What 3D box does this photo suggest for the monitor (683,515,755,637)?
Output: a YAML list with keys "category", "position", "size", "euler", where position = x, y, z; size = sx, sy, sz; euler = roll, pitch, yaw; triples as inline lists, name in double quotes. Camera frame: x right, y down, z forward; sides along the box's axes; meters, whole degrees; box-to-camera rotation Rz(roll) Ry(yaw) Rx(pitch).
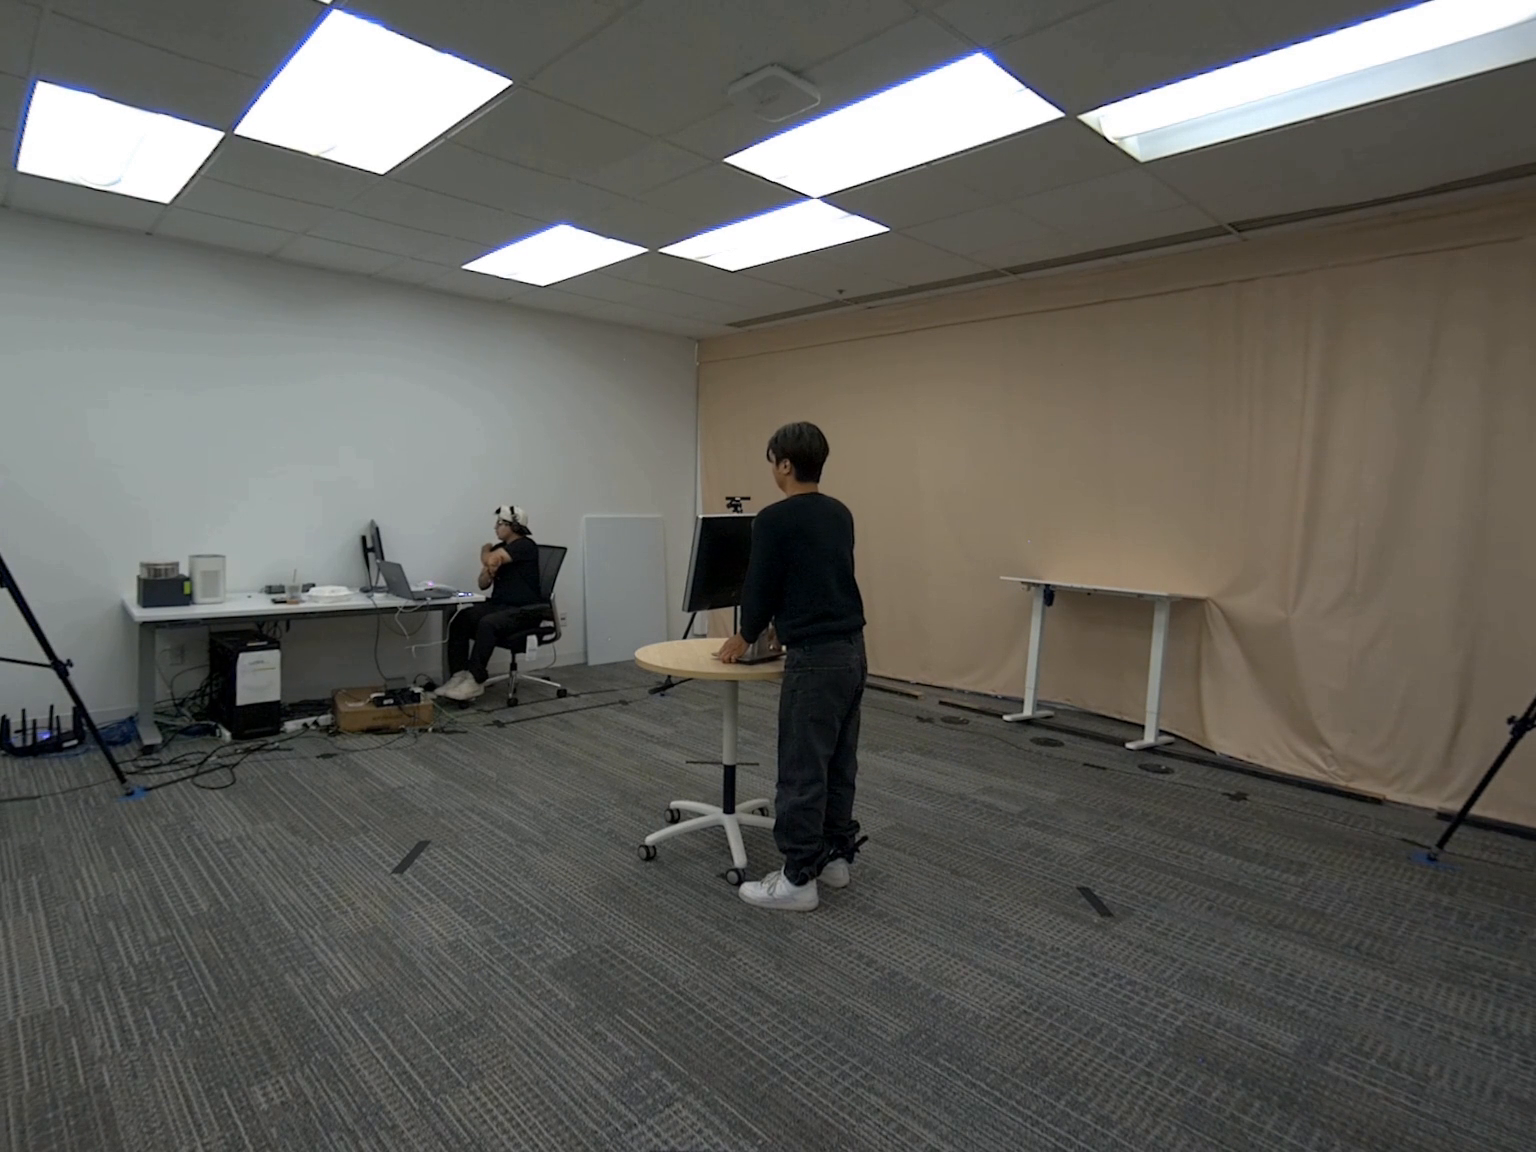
- category: "monitor"
  position: [-0.071, 0.036, 3.202]
  size: [0.192, 0.521, 0.527]
  euler: [3, 5, 41]
